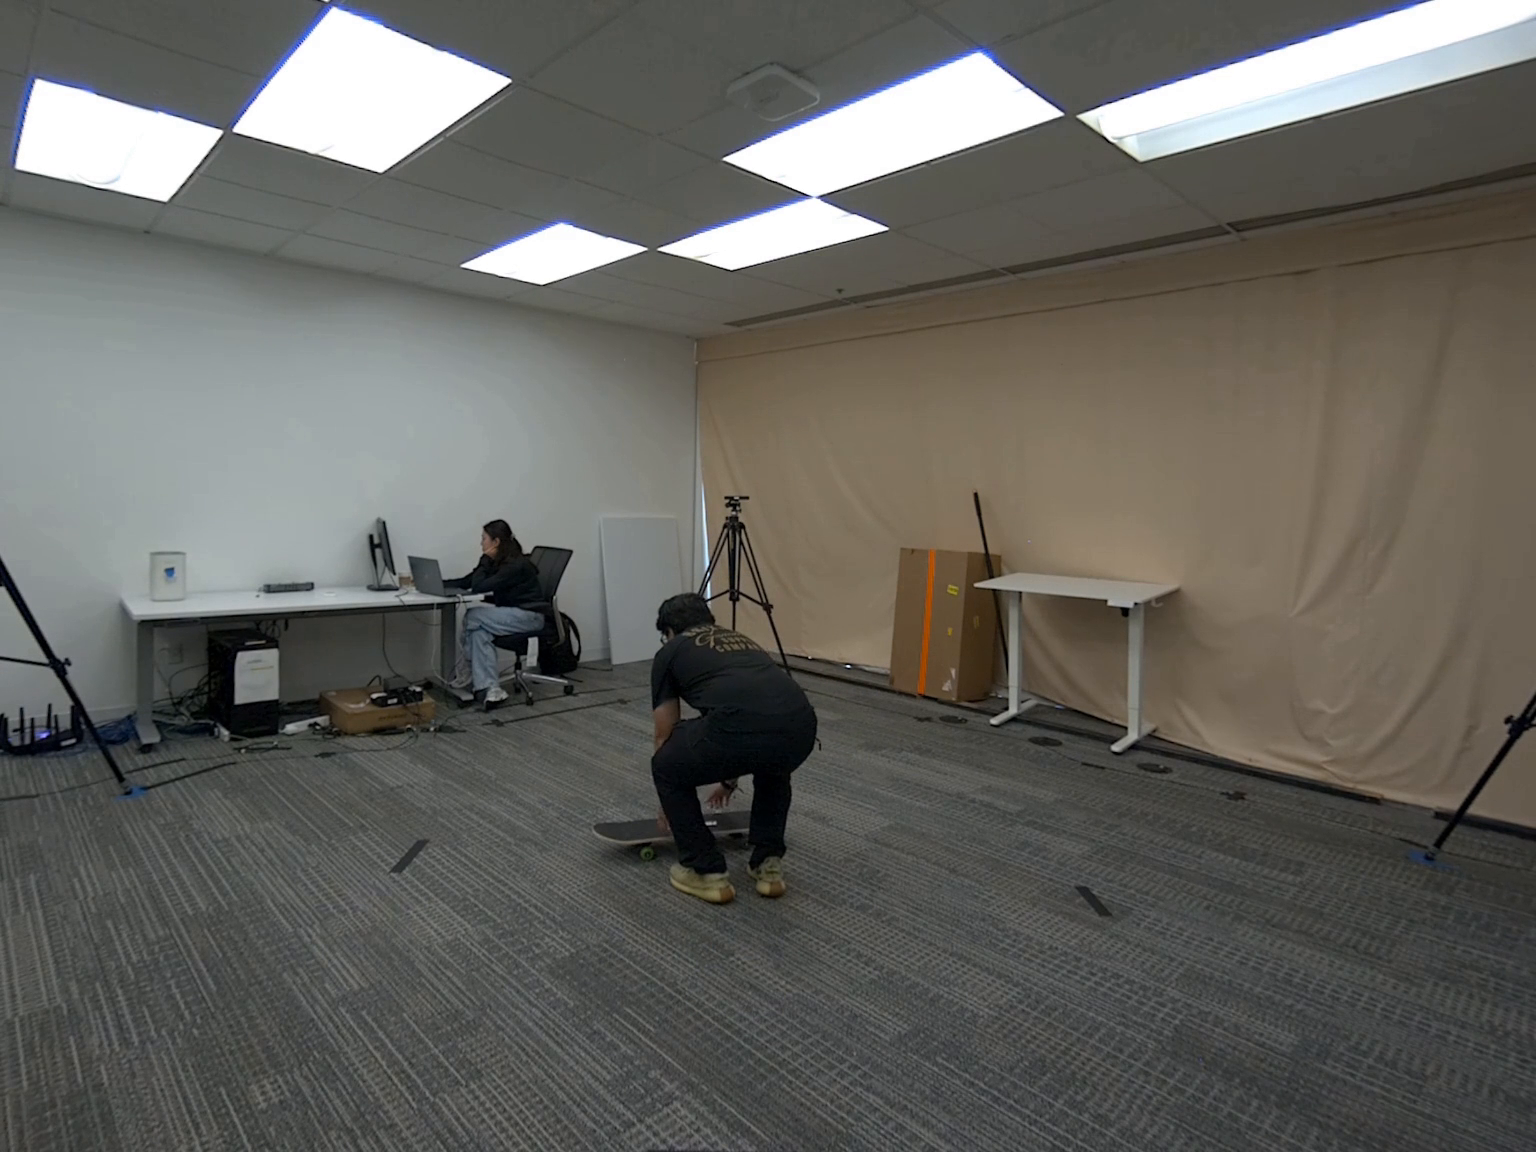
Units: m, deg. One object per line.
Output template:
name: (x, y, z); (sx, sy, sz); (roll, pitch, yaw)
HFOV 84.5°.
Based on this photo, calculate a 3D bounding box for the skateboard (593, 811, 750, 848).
skateboard: (-0.310, 1.019, 3.346); (0.774, 0.110, 0.197); (0, 6, -20)
